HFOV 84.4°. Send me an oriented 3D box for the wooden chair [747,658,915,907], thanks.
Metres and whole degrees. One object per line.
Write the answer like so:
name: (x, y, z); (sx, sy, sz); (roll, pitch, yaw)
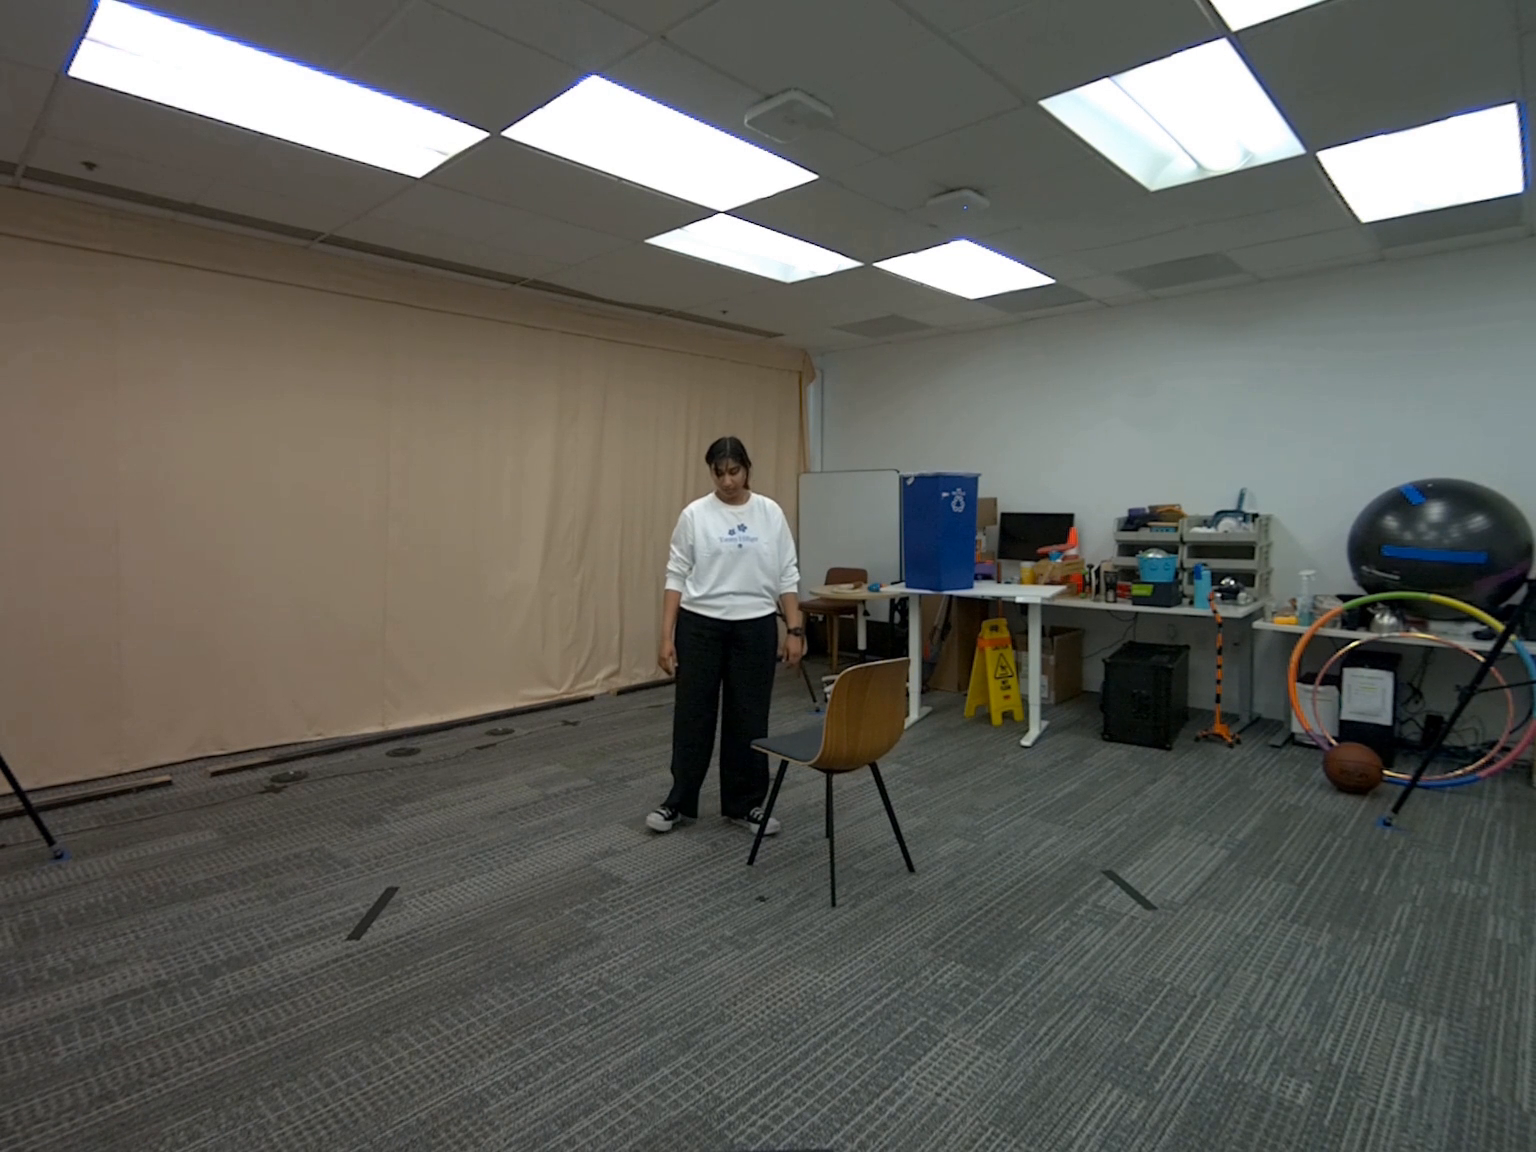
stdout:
wooden chair: (0.240, 0.696, 3.200); (0.463, 0.874, 0.541); (-3, 9, -41)
